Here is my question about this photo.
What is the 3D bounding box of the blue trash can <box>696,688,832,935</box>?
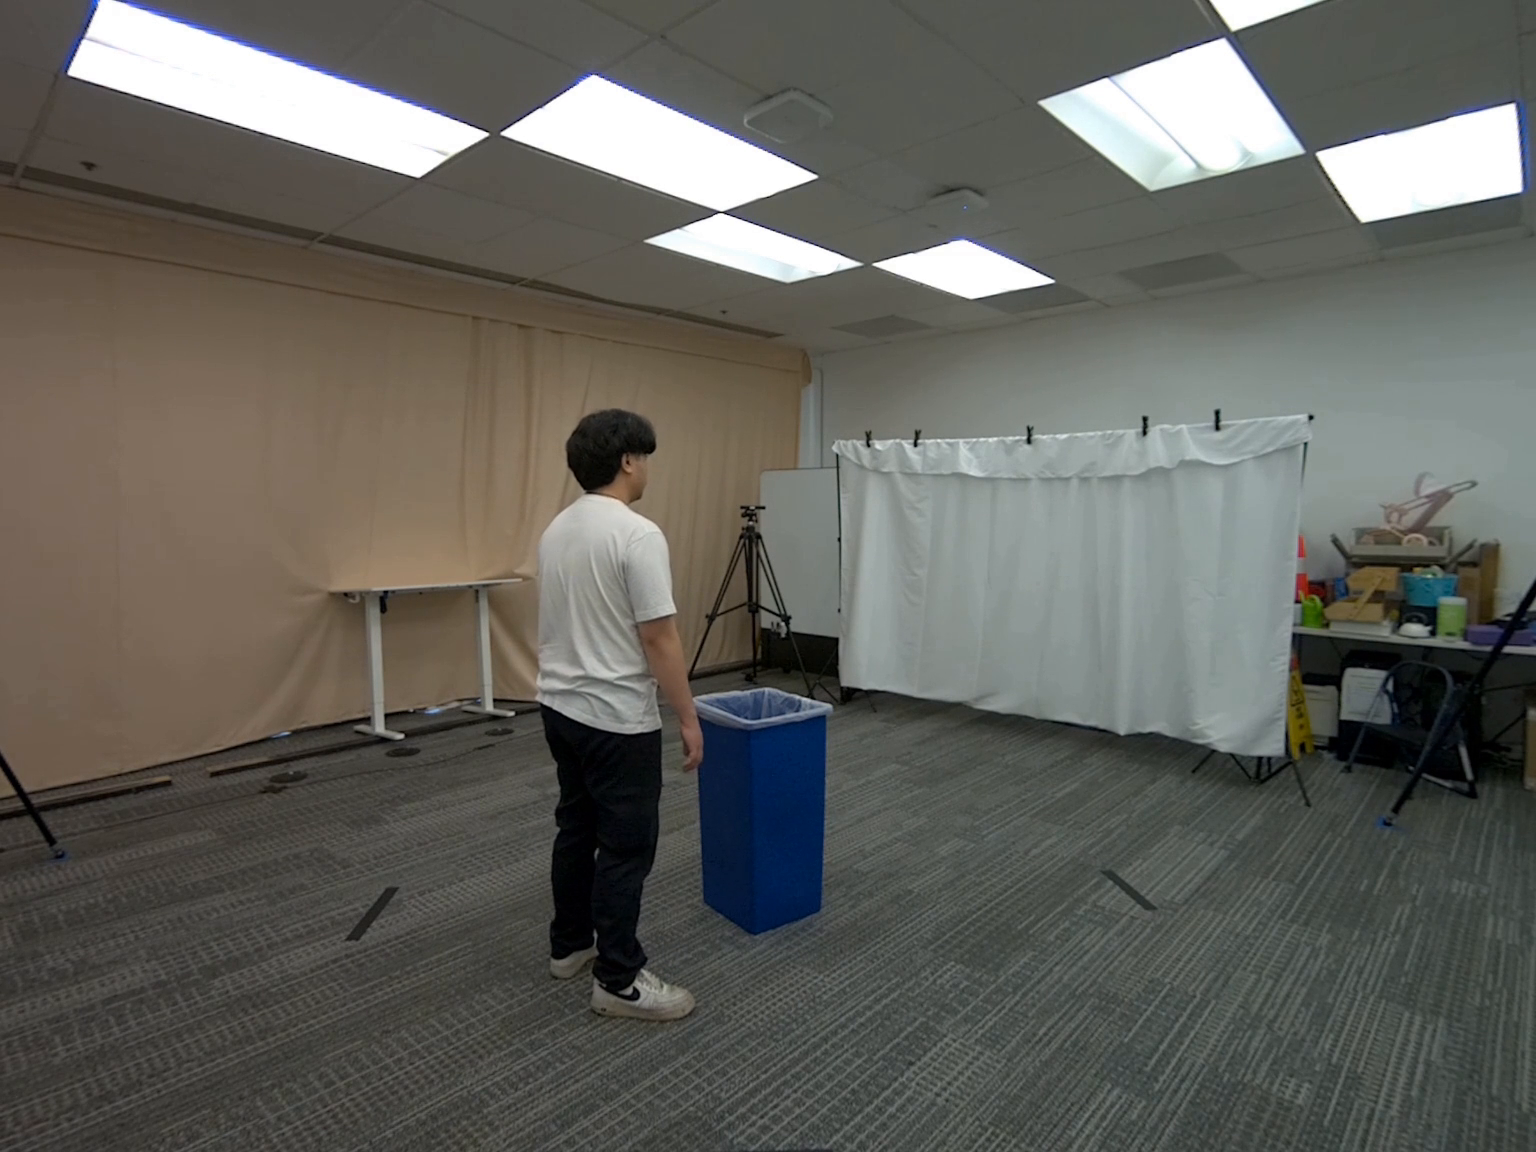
[{"bbox_3d":[-0.025,0.792,2.908,0.363,0.712,0.390,-2,4,-37],"label":"blue trash can"}]
